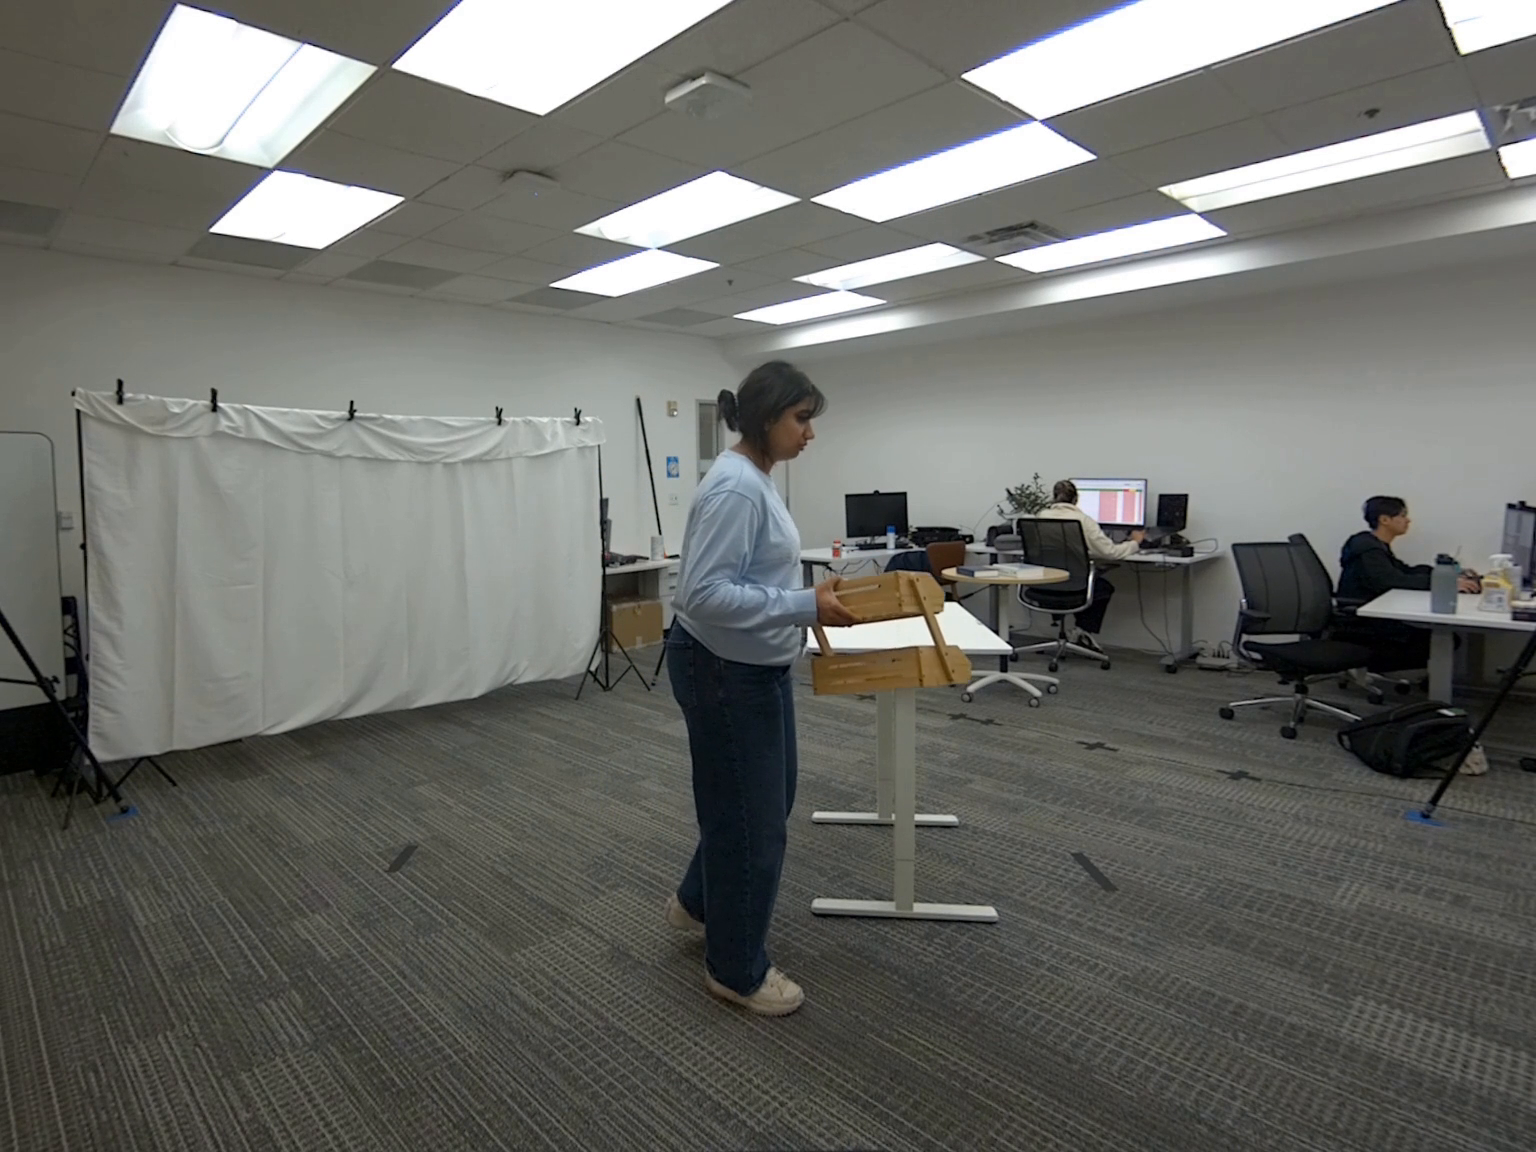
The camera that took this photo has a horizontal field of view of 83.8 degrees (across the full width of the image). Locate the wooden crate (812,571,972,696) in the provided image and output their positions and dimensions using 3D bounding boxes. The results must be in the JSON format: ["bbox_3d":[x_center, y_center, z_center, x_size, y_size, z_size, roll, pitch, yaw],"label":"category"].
[{"bbox_3d":[0.279,0.141,2.091,0.331,0.276,0.292,-13,-11,39],"label":"wooden crate"}]
